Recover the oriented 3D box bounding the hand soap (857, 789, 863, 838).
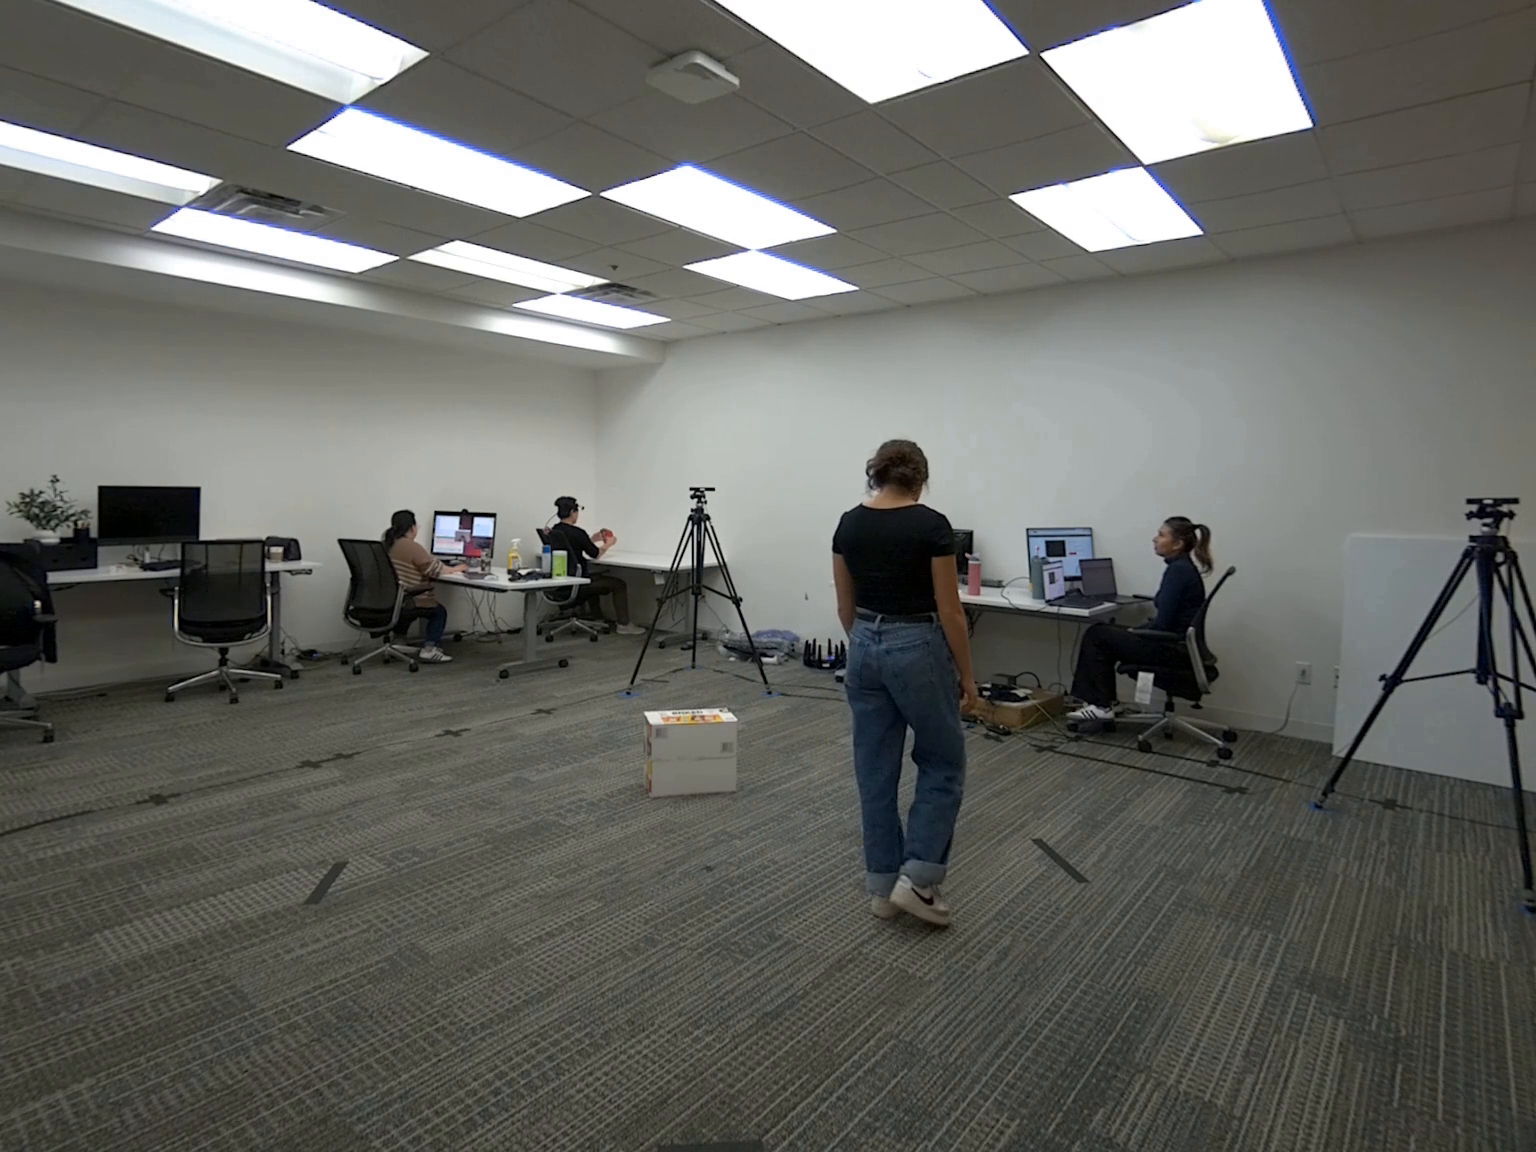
[{"bbox_3d":[0.393,0.962,3.419,0.043,0.168,0.085,0,2,-5],"label":"hand soap"}]
